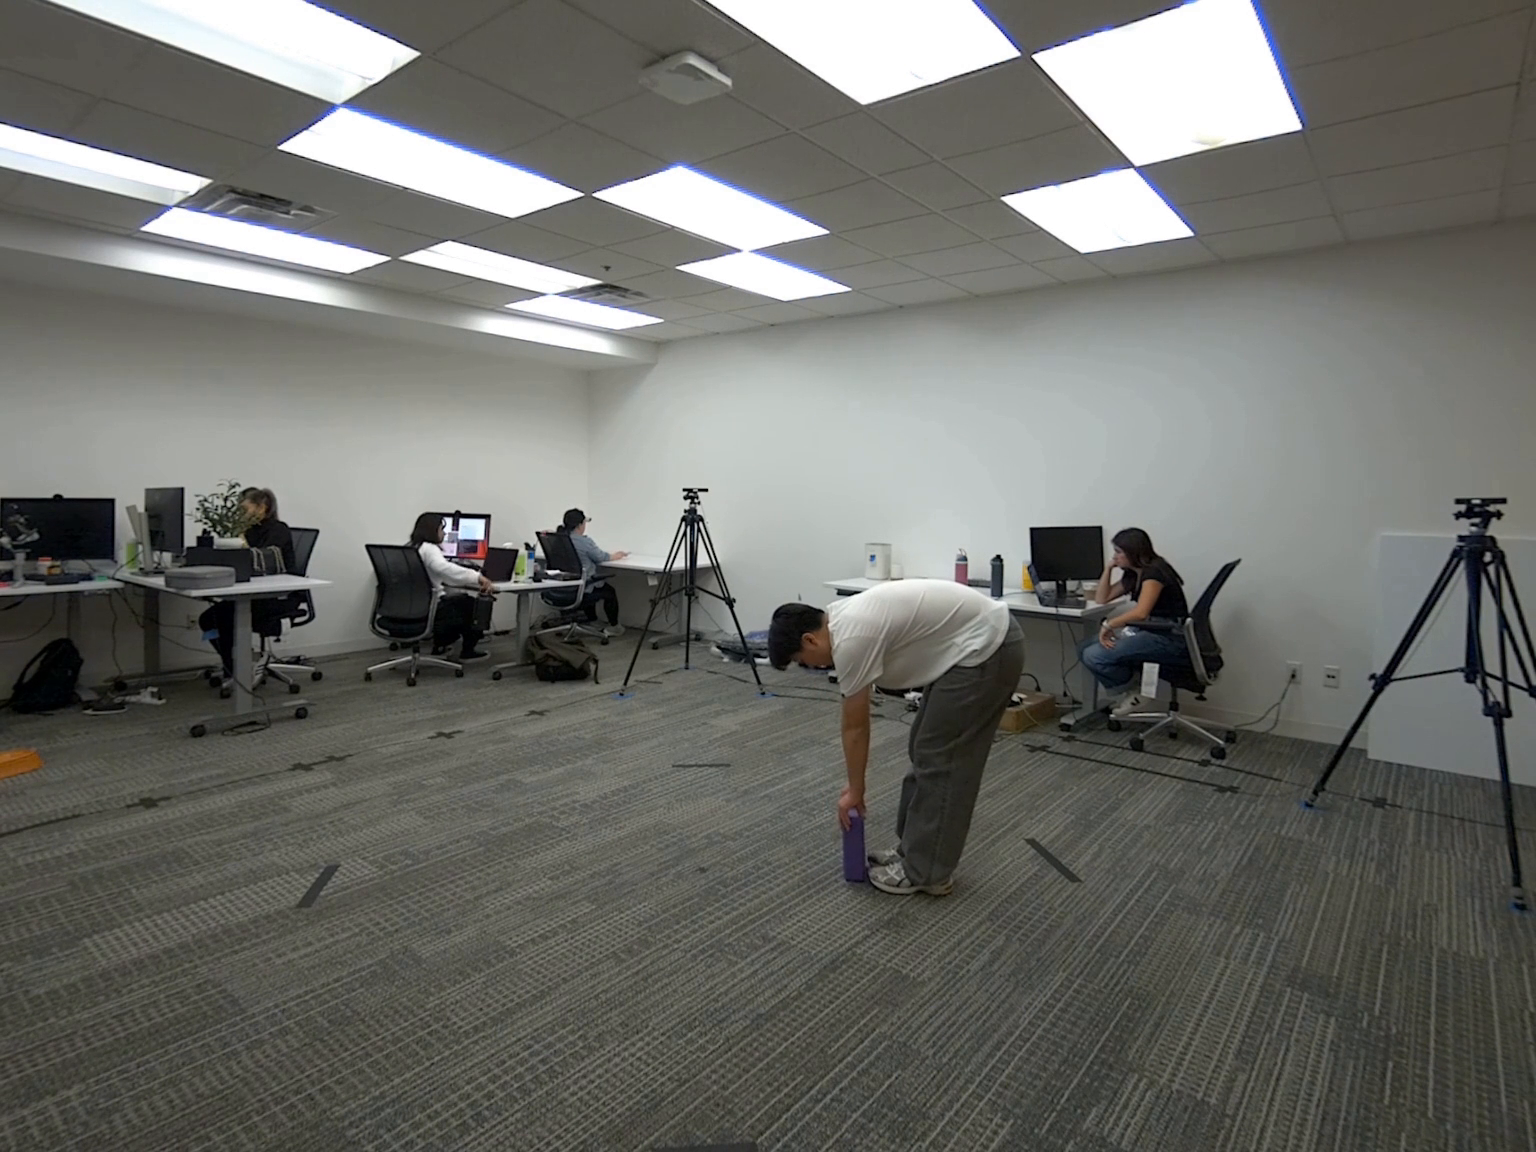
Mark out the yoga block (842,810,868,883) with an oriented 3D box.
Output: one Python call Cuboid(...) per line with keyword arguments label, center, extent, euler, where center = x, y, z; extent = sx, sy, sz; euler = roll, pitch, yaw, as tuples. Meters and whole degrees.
Cuboid(label="yoga block", center=(0.316, 0.967, 3.110), extent=(0.077, 0.229, 0.149), euler=(-2, 3, 3))
